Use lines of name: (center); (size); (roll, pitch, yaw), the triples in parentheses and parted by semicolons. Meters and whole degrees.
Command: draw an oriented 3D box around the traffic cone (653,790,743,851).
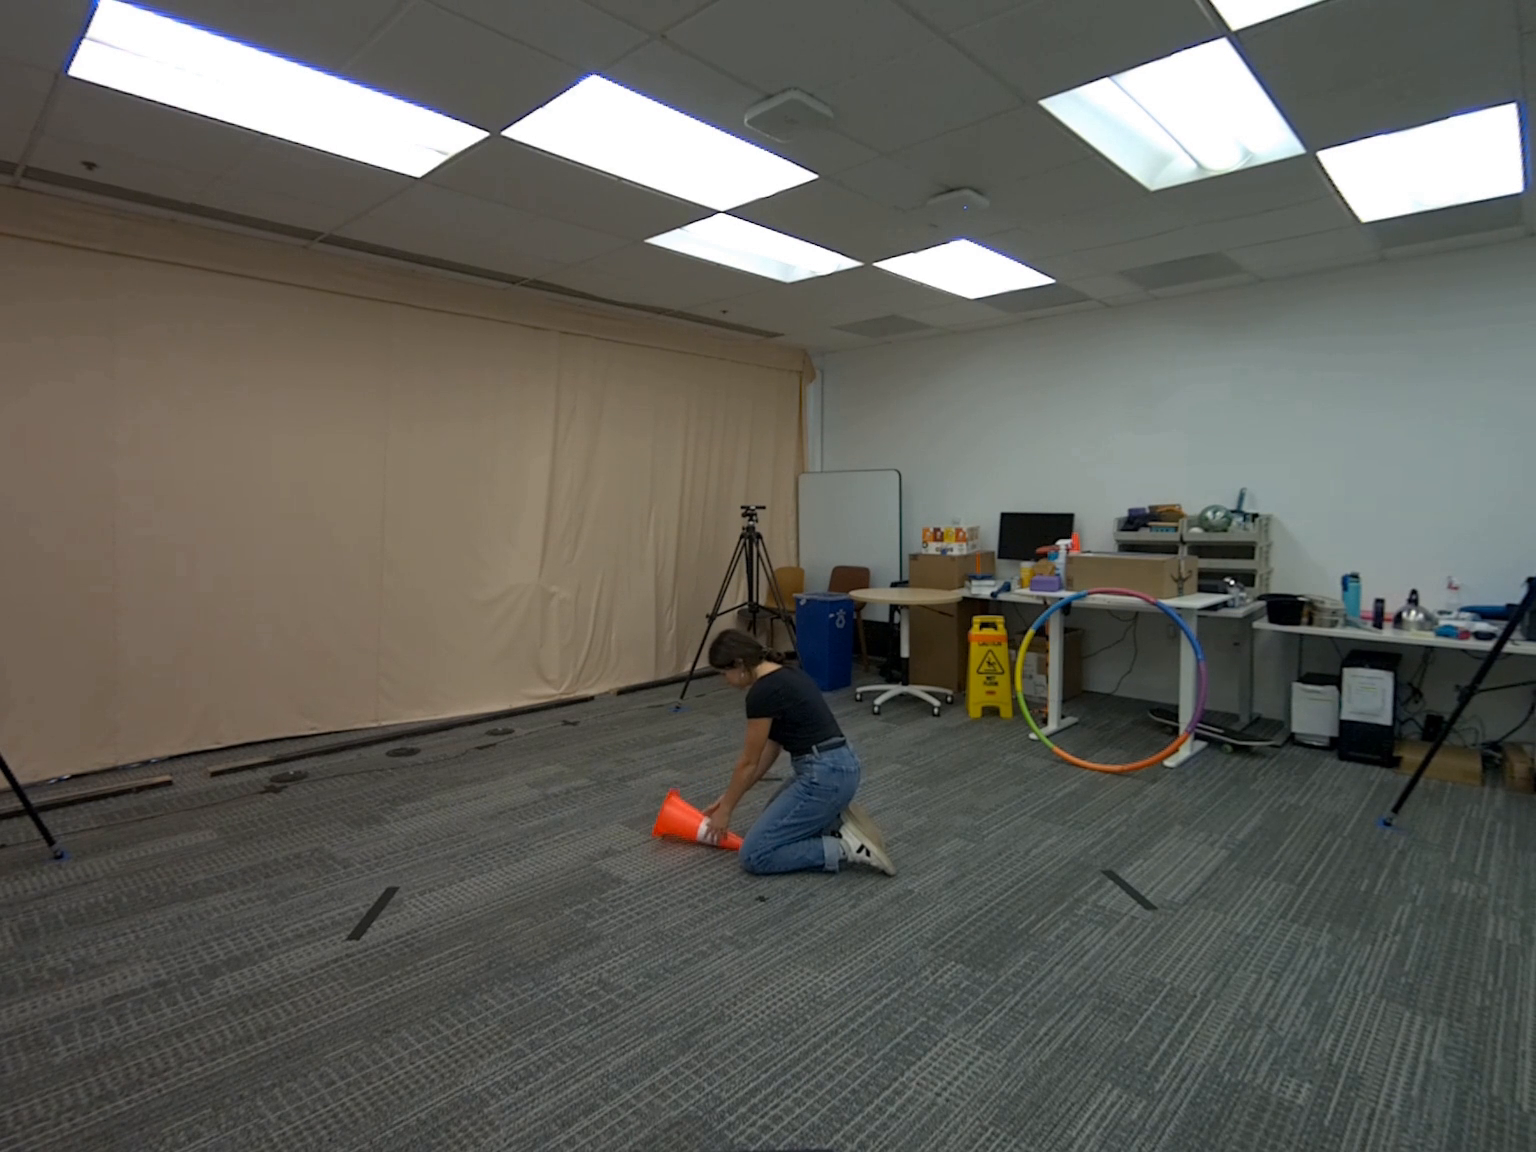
traffic cone: (-0.240, 1.057, 3.463); (0.392, 0.204, 0.200); (18, -16, 17)
